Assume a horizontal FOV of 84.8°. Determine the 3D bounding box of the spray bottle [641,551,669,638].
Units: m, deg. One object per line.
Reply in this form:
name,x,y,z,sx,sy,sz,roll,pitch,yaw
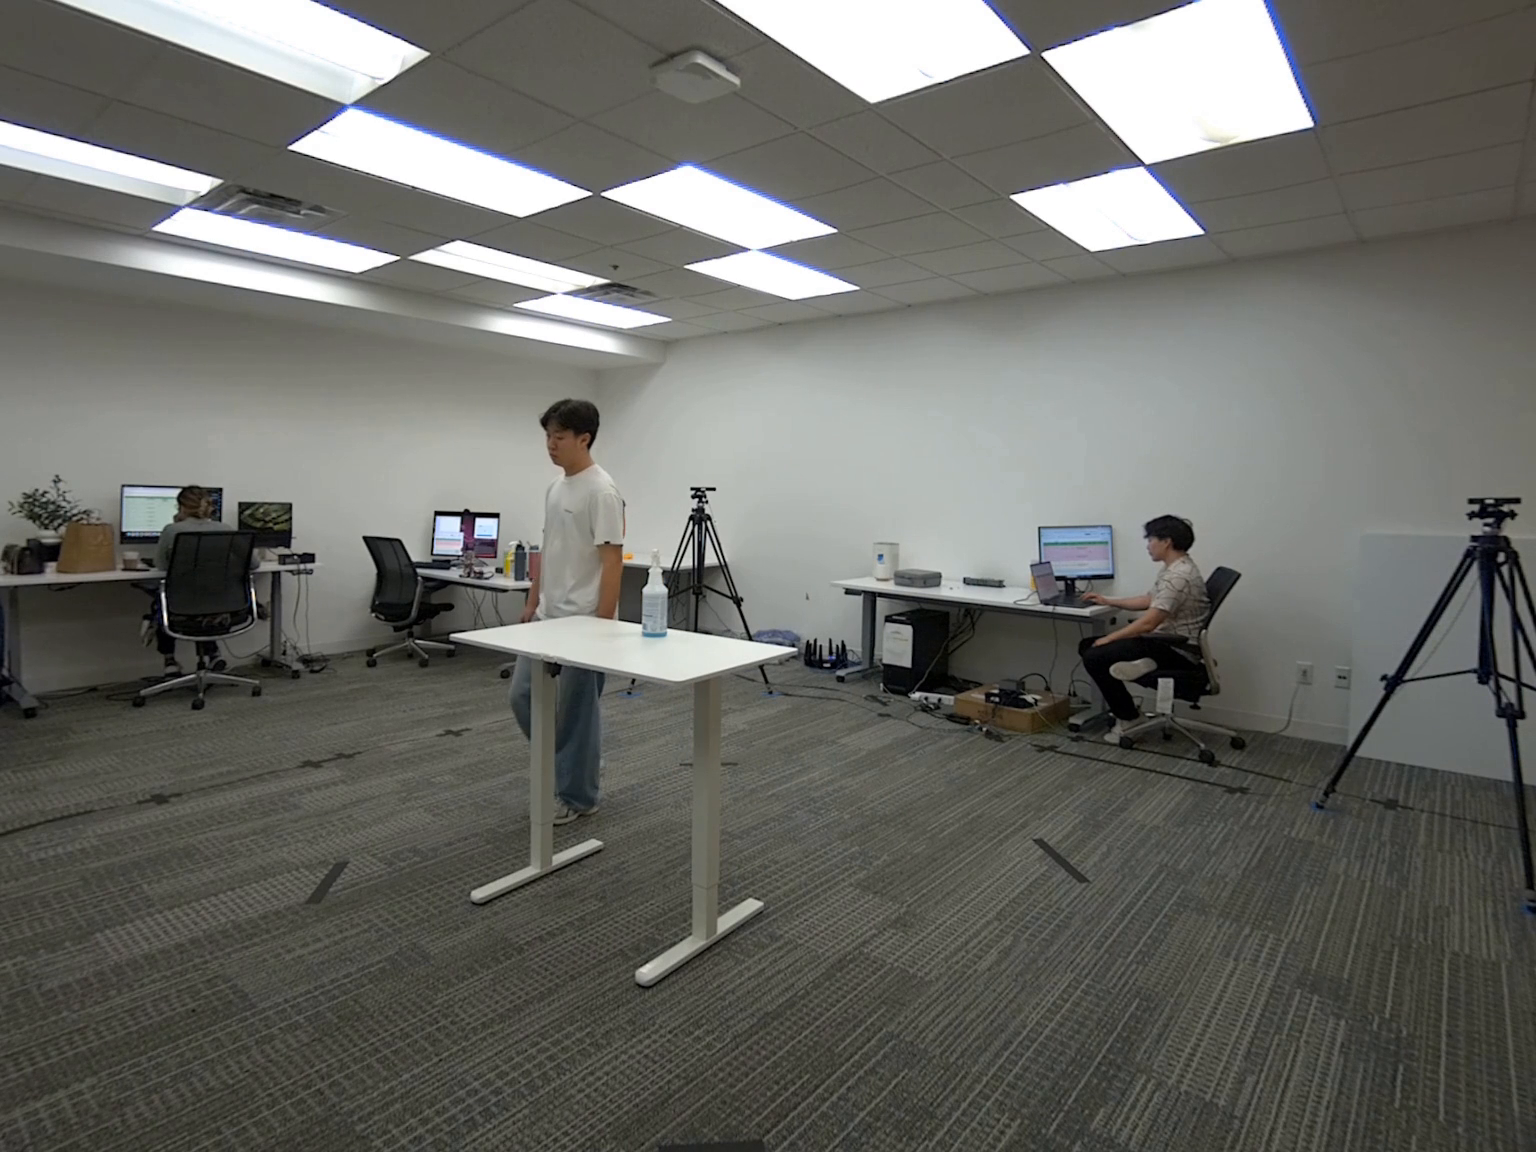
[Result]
spray bottle,-0.395,0.056,2.898,0.089,0.296,0.088,2,5,23
